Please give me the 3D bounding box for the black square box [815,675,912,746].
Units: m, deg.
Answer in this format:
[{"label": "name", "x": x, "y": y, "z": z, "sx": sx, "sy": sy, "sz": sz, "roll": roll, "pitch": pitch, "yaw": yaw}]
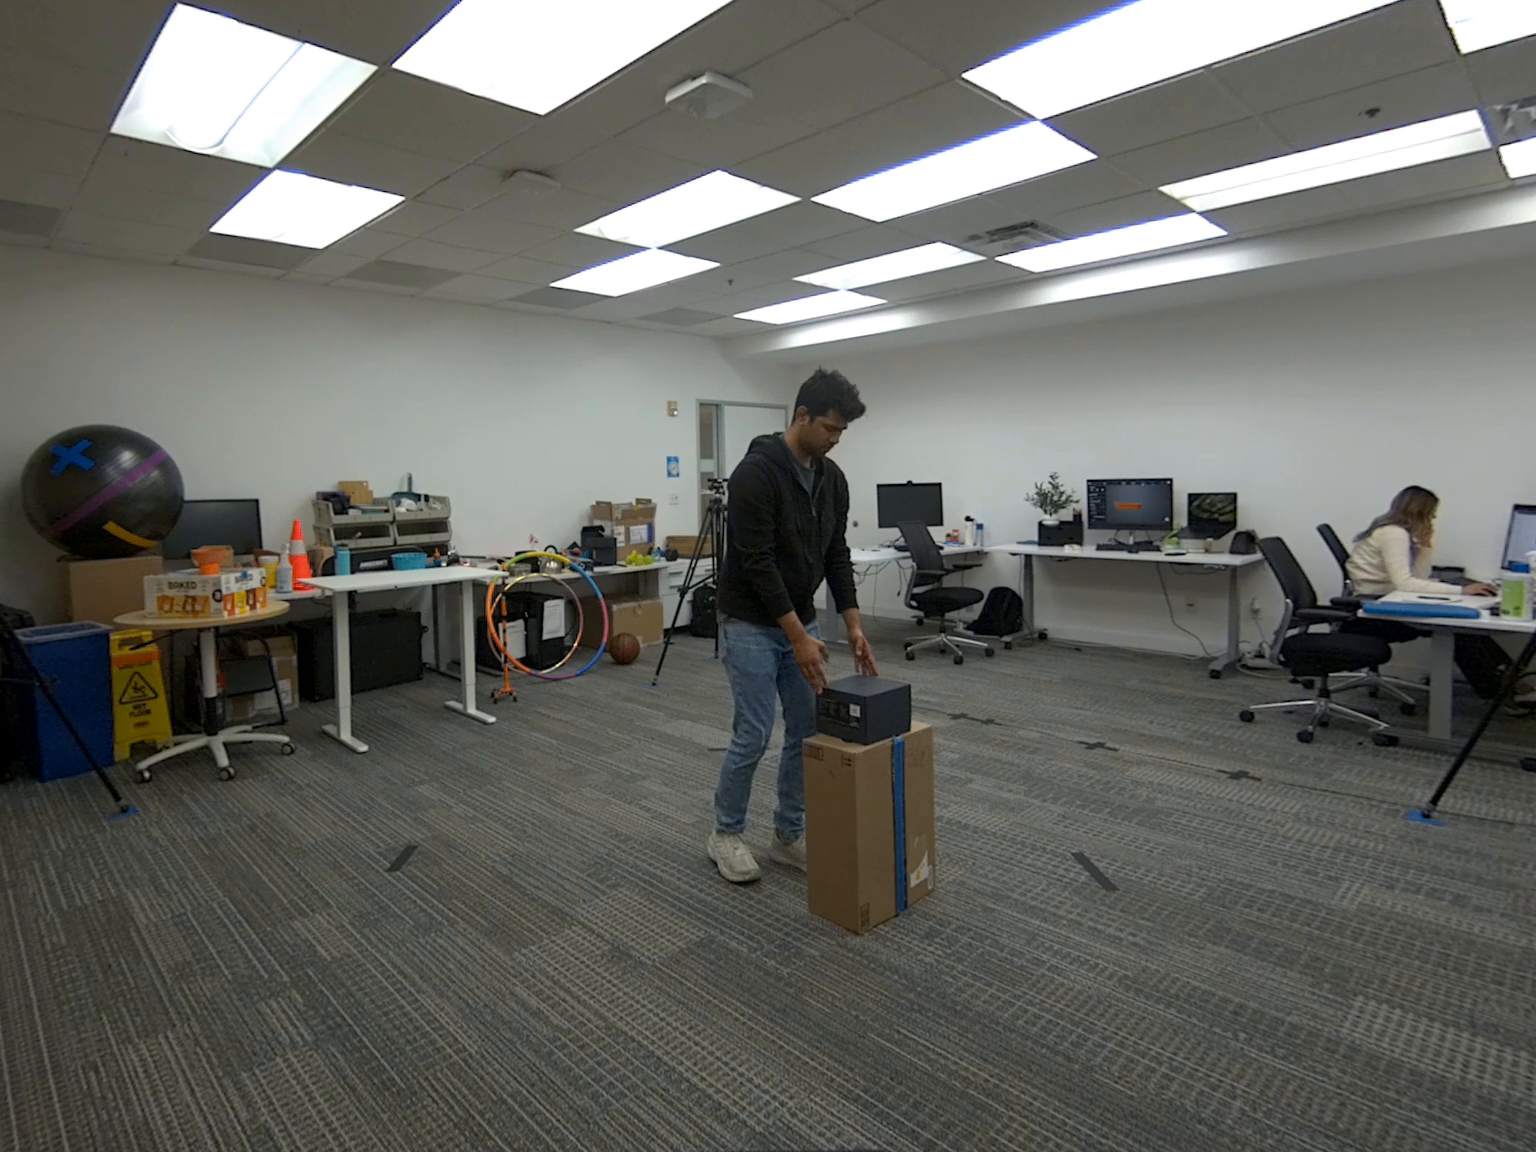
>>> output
[{"label": "black square box", "x": 0.313, "y": 0.428, "z": 2.784, "sx": 0.222, "sy": 0.155, "sz": 0.223, "roll": -6, "pitch": 7, "yaw": -43}]
